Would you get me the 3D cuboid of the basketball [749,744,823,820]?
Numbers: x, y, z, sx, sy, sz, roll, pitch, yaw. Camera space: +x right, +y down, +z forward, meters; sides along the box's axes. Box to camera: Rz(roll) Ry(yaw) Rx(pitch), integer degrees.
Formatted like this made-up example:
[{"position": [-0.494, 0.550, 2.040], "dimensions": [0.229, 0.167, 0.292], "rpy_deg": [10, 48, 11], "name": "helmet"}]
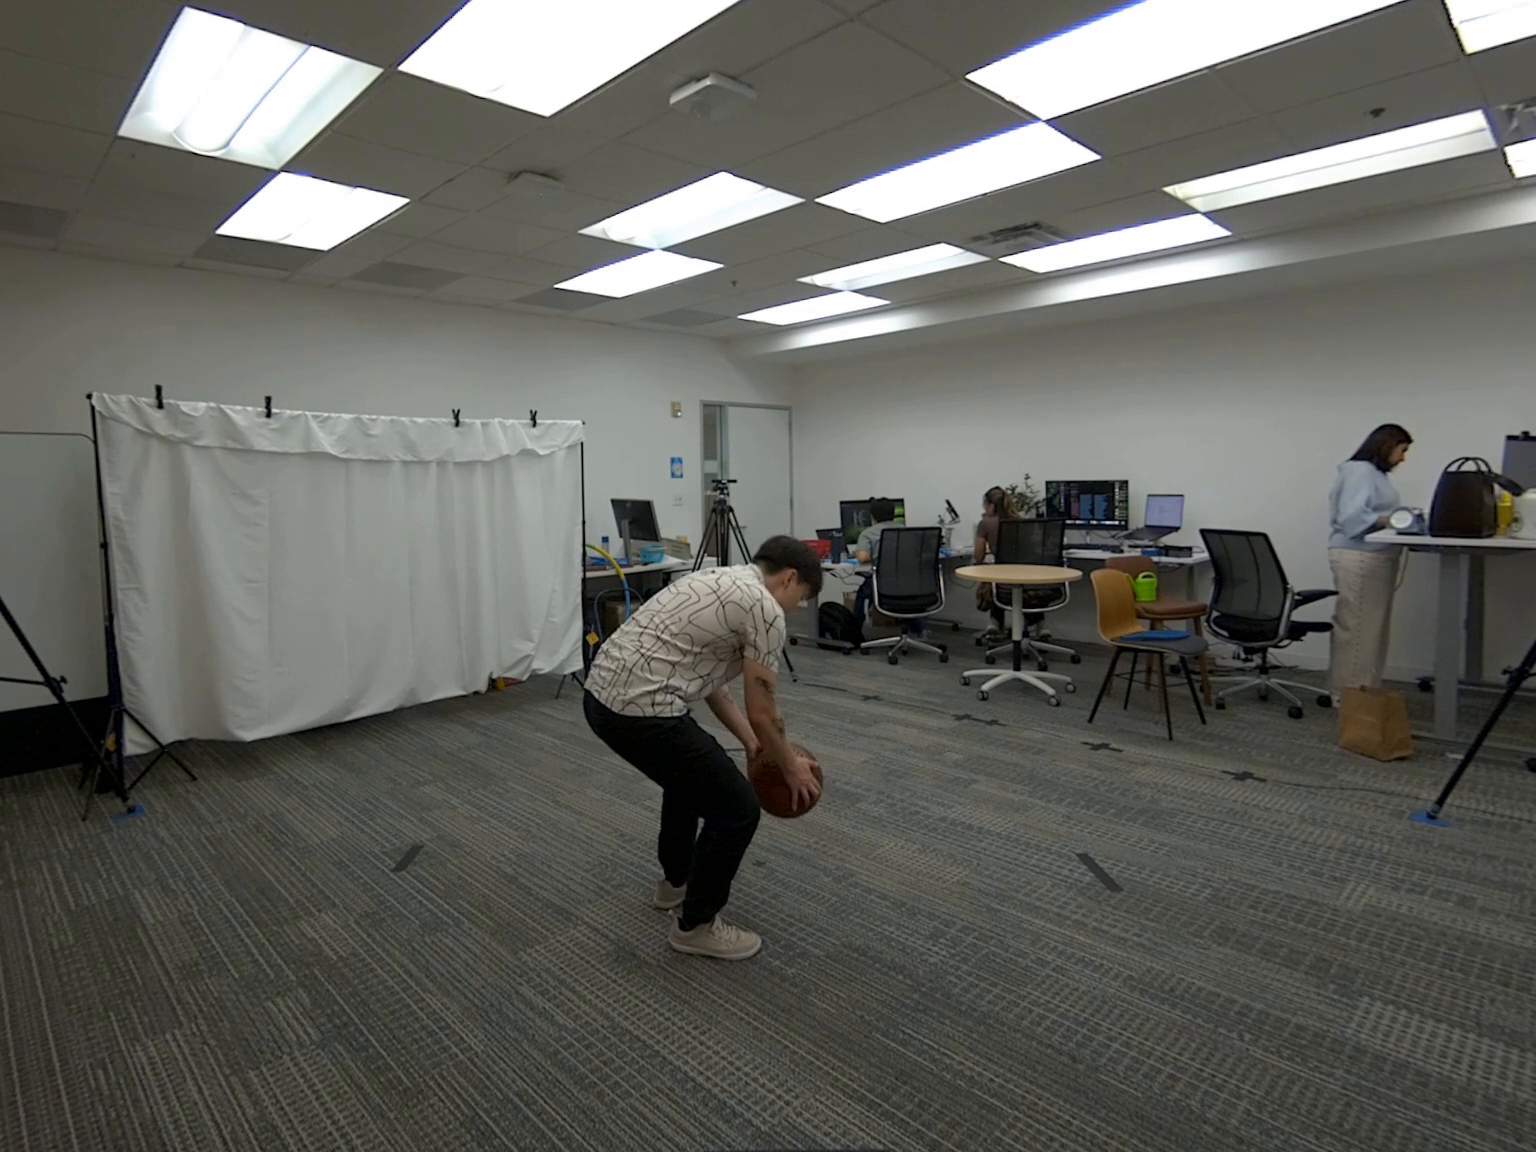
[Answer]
[{"position": [0.056, 0.656, 2.769], "dimensions": [0.236, 0.235, 0.237], "rpy_deg": [-1, 5, -2], "name": "basketball"}]
